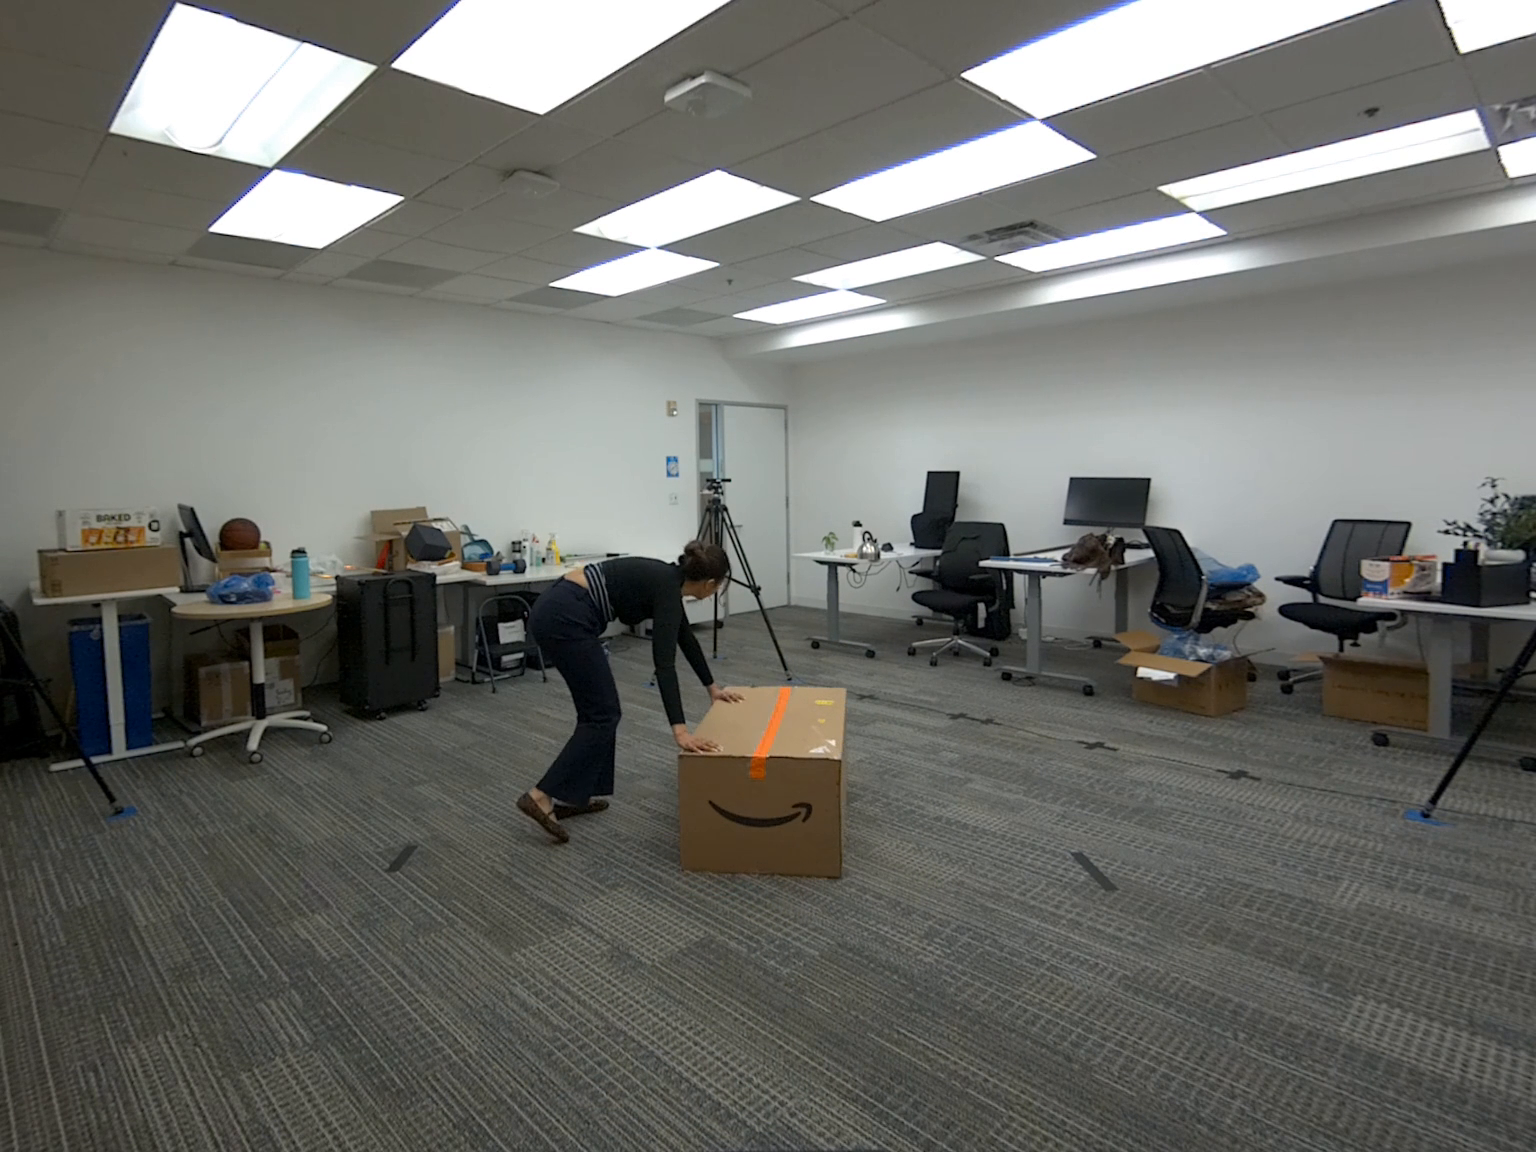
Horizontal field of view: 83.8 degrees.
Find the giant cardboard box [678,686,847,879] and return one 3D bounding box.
[{"bbox_3d":[0.028,0.782,3.506,0.582,0.424,1.023,-2,6,7],"label":"giant cardboard box"}]
